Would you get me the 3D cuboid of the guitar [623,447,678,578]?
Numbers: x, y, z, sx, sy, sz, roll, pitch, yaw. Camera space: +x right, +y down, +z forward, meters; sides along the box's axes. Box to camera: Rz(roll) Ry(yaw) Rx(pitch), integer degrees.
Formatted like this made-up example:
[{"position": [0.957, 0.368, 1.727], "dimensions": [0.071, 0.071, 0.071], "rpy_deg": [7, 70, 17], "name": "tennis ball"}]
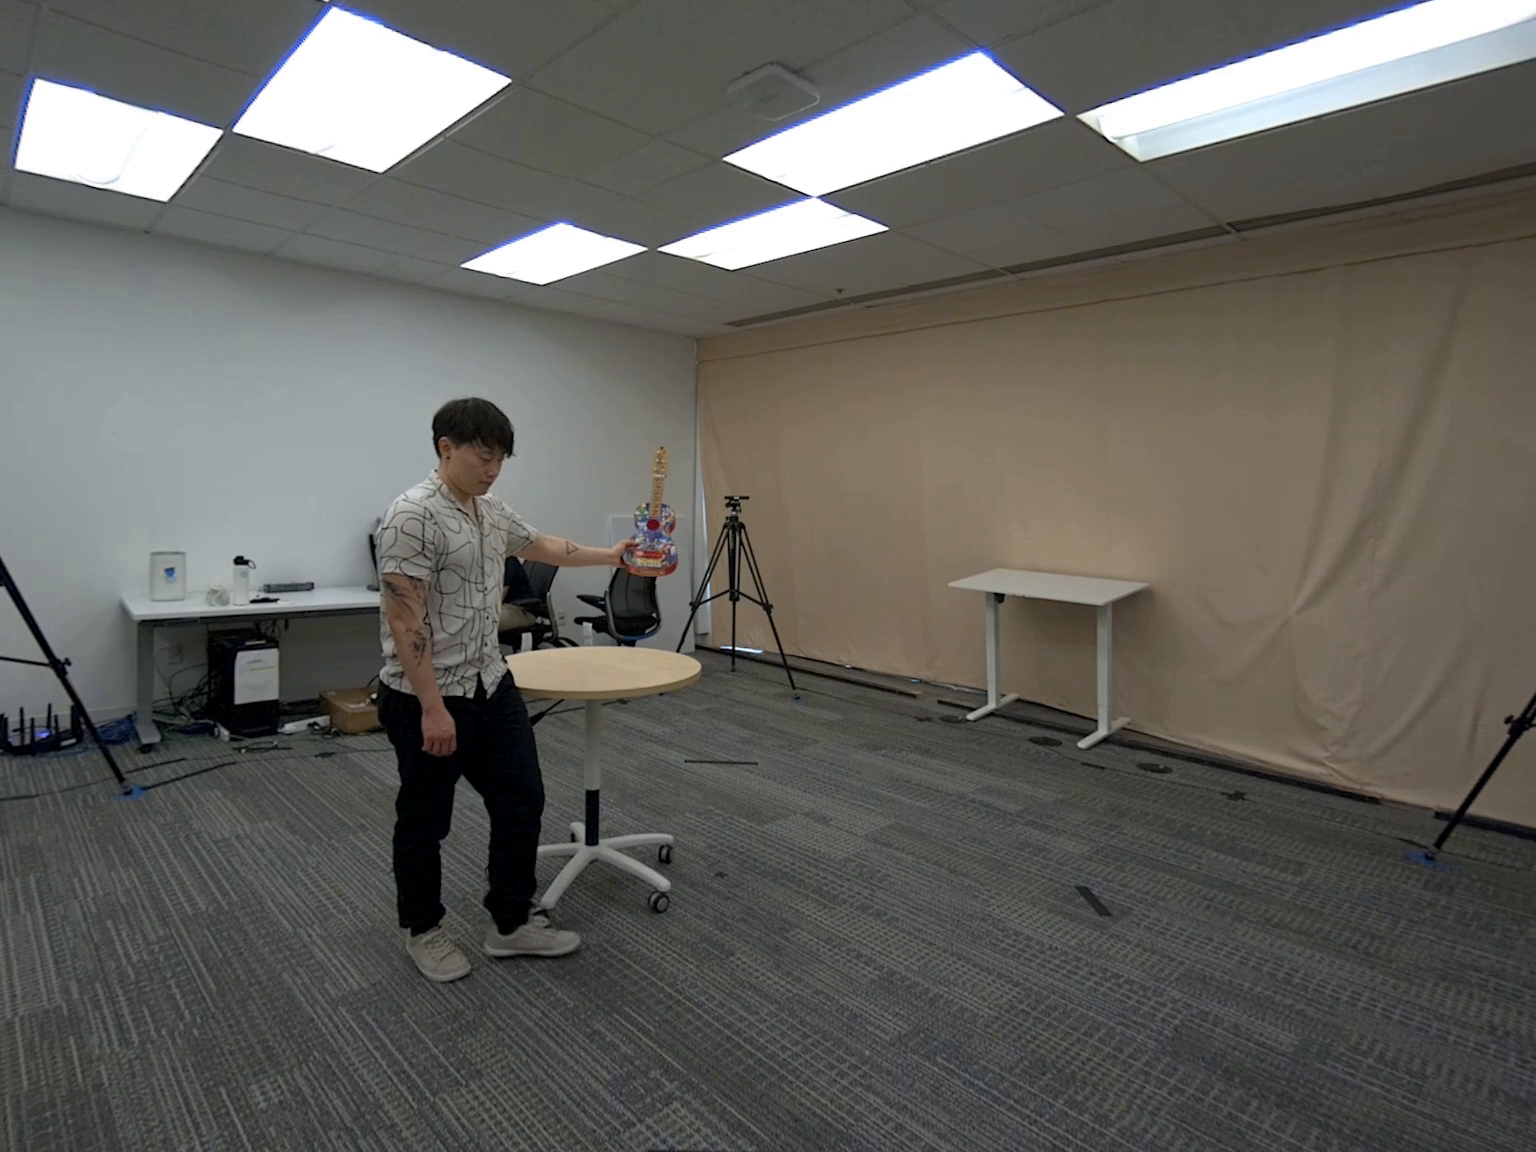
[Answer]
[{"position": [-0.377, -0.233, 3.041], "dimensions": [0.193, 0.504, 0.069], "rpy_deg": [10, -25, 3], "name": "guitar"}]
